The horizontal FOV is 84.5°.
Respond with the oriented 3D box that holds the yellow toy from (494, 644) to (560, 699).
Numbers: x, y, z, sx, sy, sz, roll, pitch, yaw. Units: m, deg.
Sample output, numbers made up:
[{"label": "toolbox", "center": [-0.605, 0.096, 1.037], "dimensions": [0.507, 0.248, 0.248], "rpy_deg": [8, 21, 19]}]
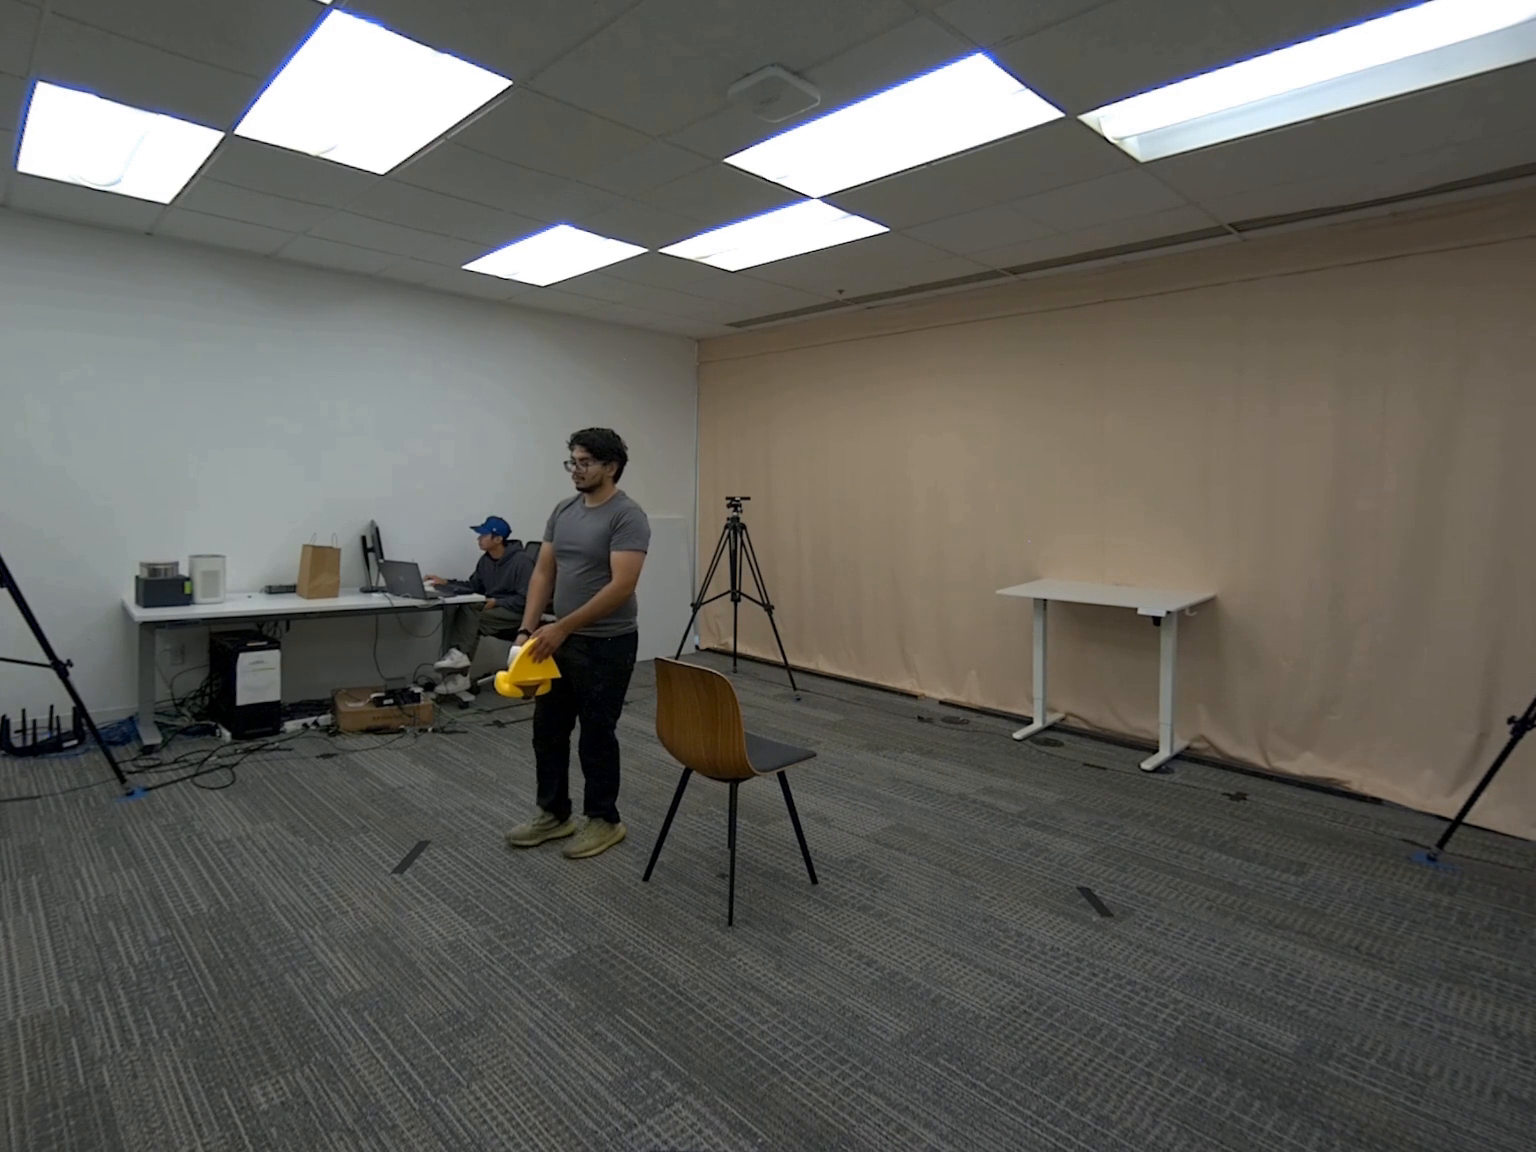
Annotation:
[{"label": "yellow toy", "center": [-0.891, 0.306, 3.073], "dimensions": [0.200, 0.228, 0.199], "rpy_deg": [-1, 23, -35]}]
